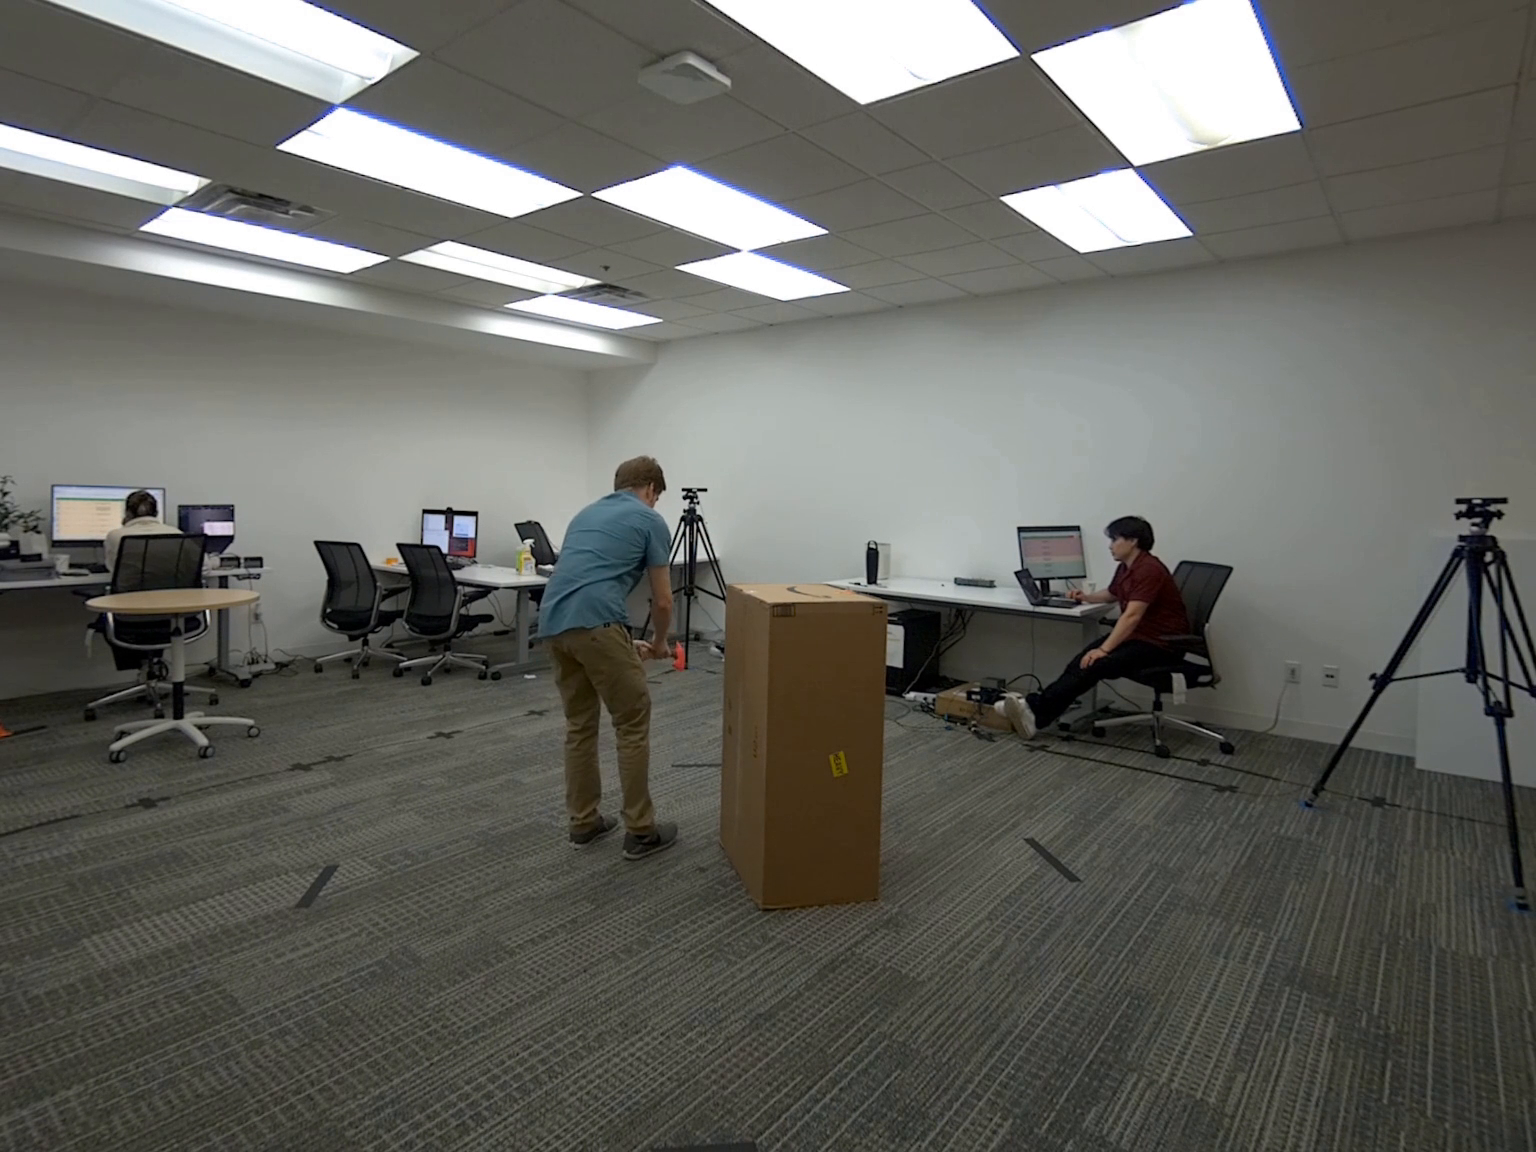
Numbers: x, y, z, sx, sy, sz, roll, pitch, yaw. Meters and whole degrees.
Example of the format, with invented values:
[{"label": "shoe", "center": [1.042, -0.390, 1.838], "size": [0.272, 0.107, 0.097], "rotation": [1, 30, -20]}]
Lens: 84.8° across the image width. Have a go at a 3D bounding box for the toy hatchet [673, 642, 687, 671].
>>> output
[{"label": "toy hatchet", "center": [-0.460, 0.375, 3.593], "size": [0.263, 0.133, 0.030], "rotation": [-13, -19, -47]}]
